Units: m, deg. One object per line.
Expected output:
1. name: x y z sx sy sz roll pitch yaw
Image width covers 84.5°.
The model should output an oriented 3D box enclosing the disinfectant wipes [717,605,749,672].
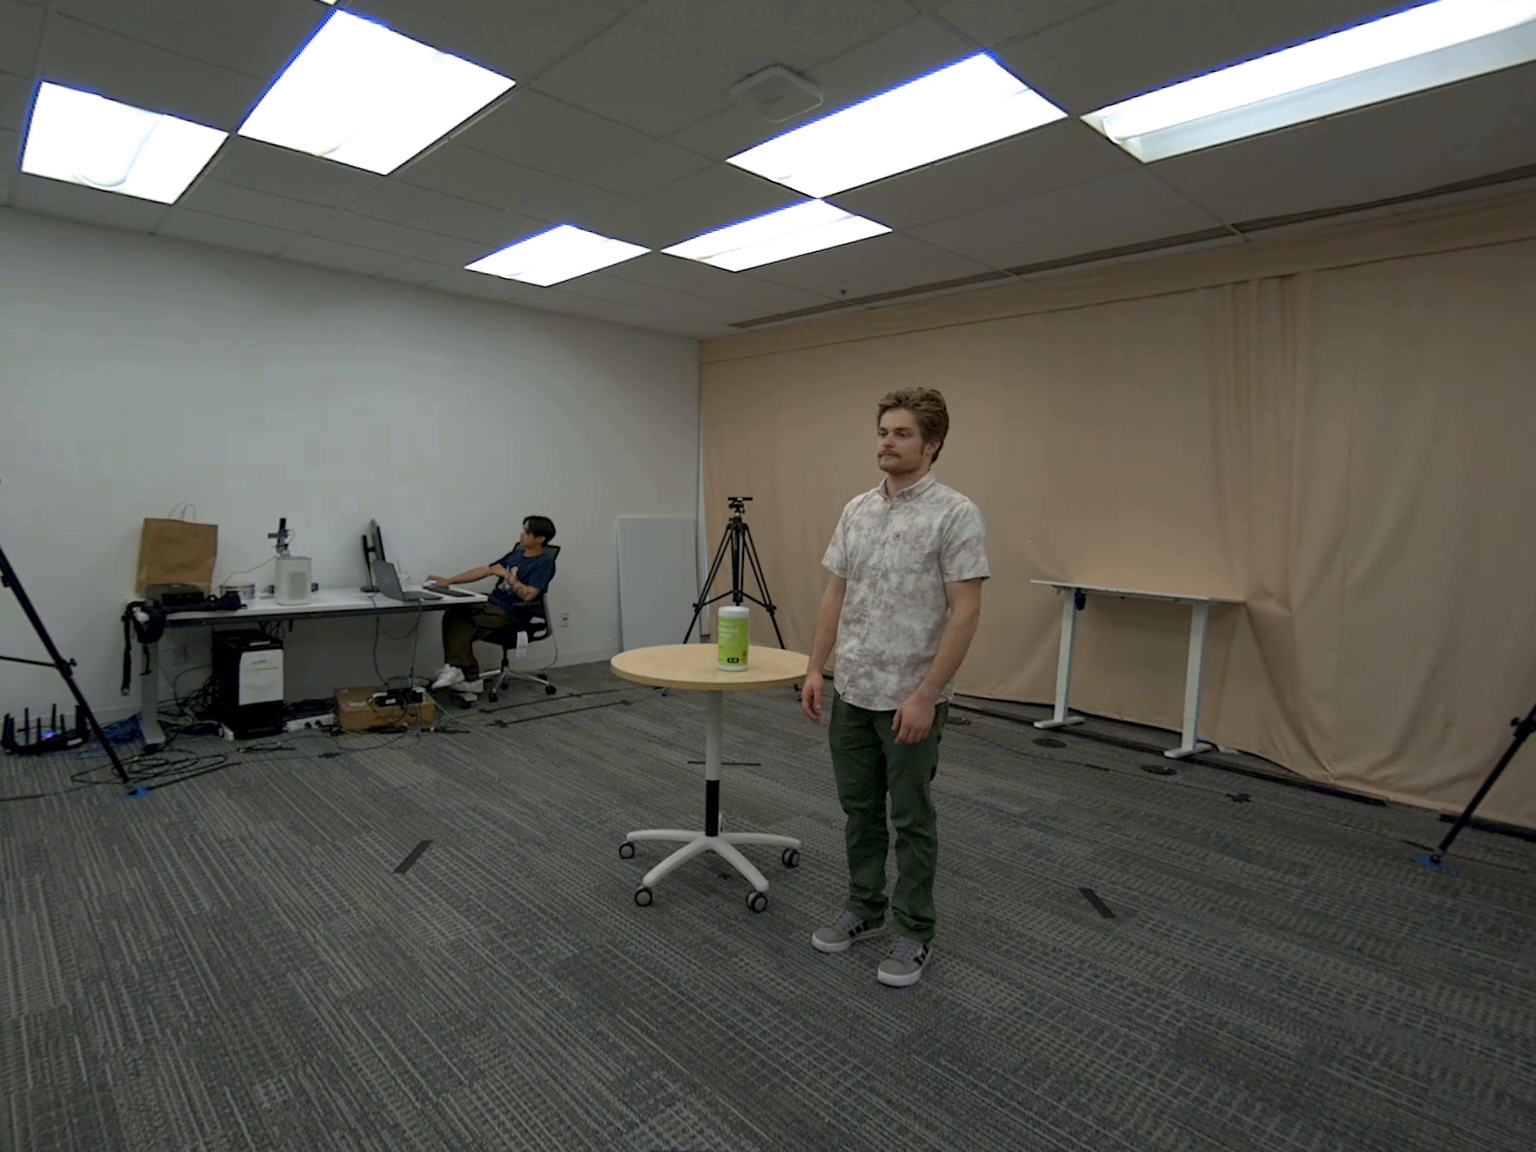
1. disinfectant wipes: -0.121 0.219 2.952 0.118 0.216 0.118 0 7 -1
